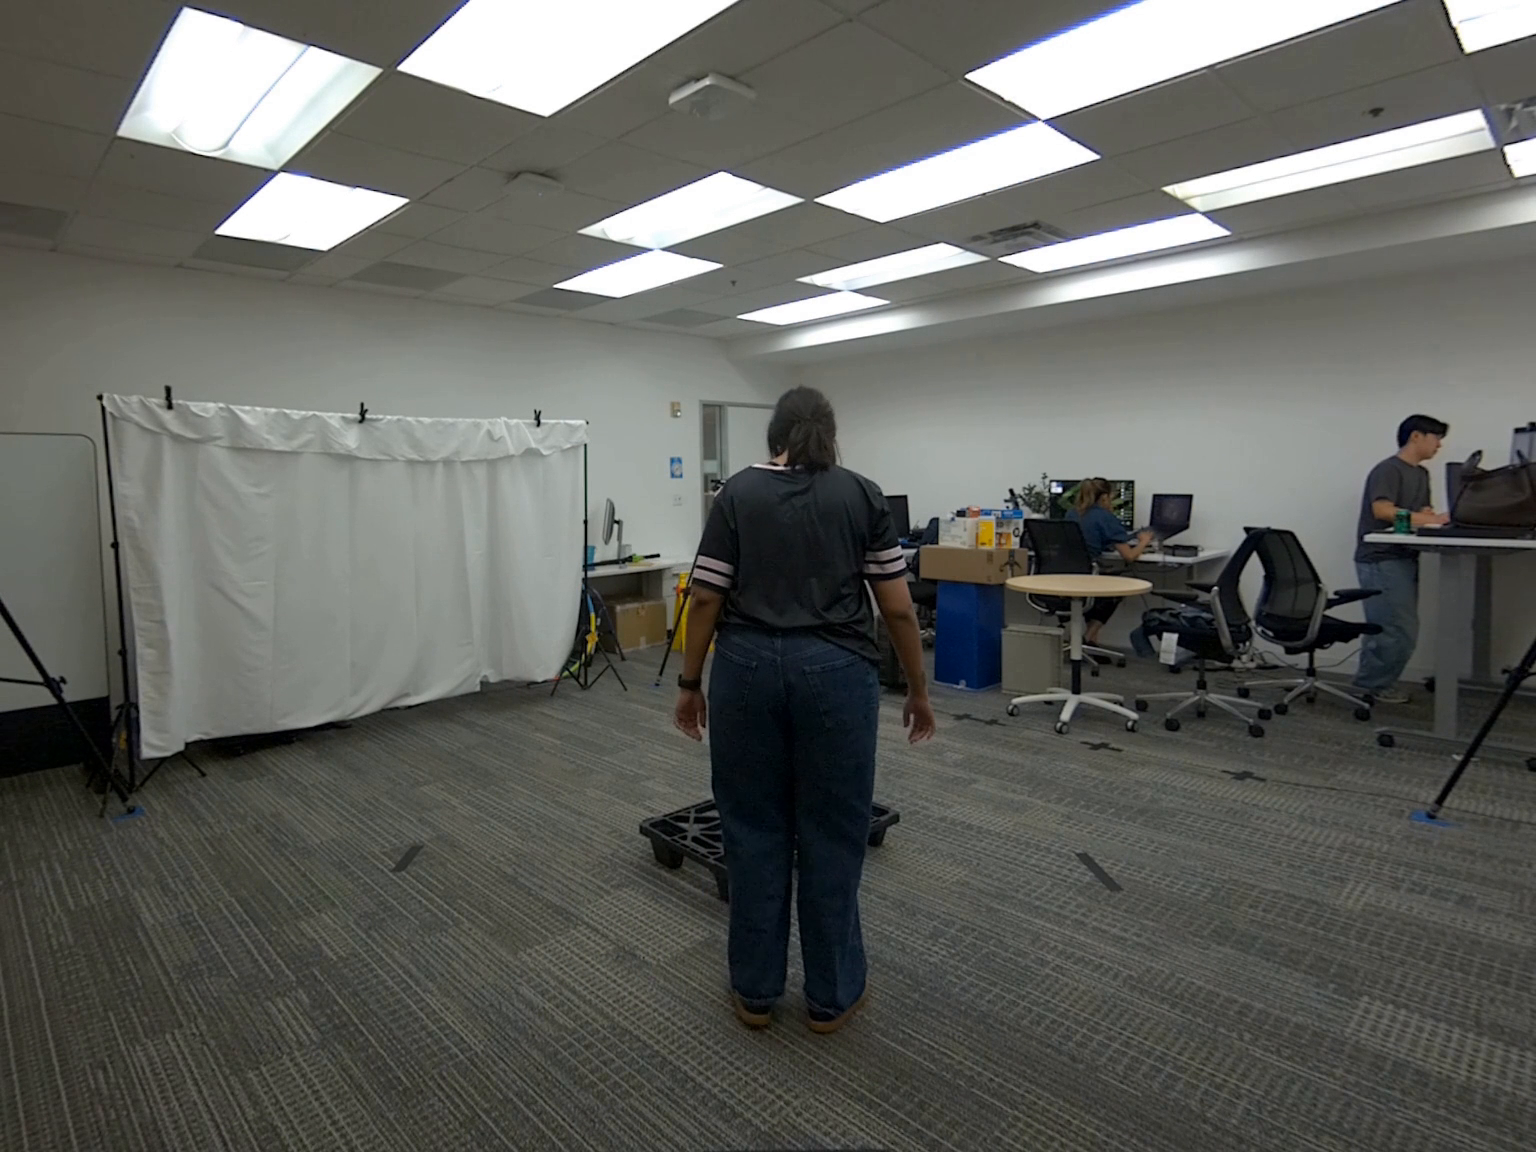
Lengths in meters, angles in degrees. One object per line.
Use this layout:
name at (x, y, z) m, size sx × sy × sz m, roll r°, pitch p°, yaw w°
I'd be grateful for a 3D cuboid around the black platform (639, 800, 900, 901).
black platform at (0.021, 0.971, 3.196) m, size 0.785 × 0.142 × 0.624 m, roll -7°, pitch 9°, yaw -41°
